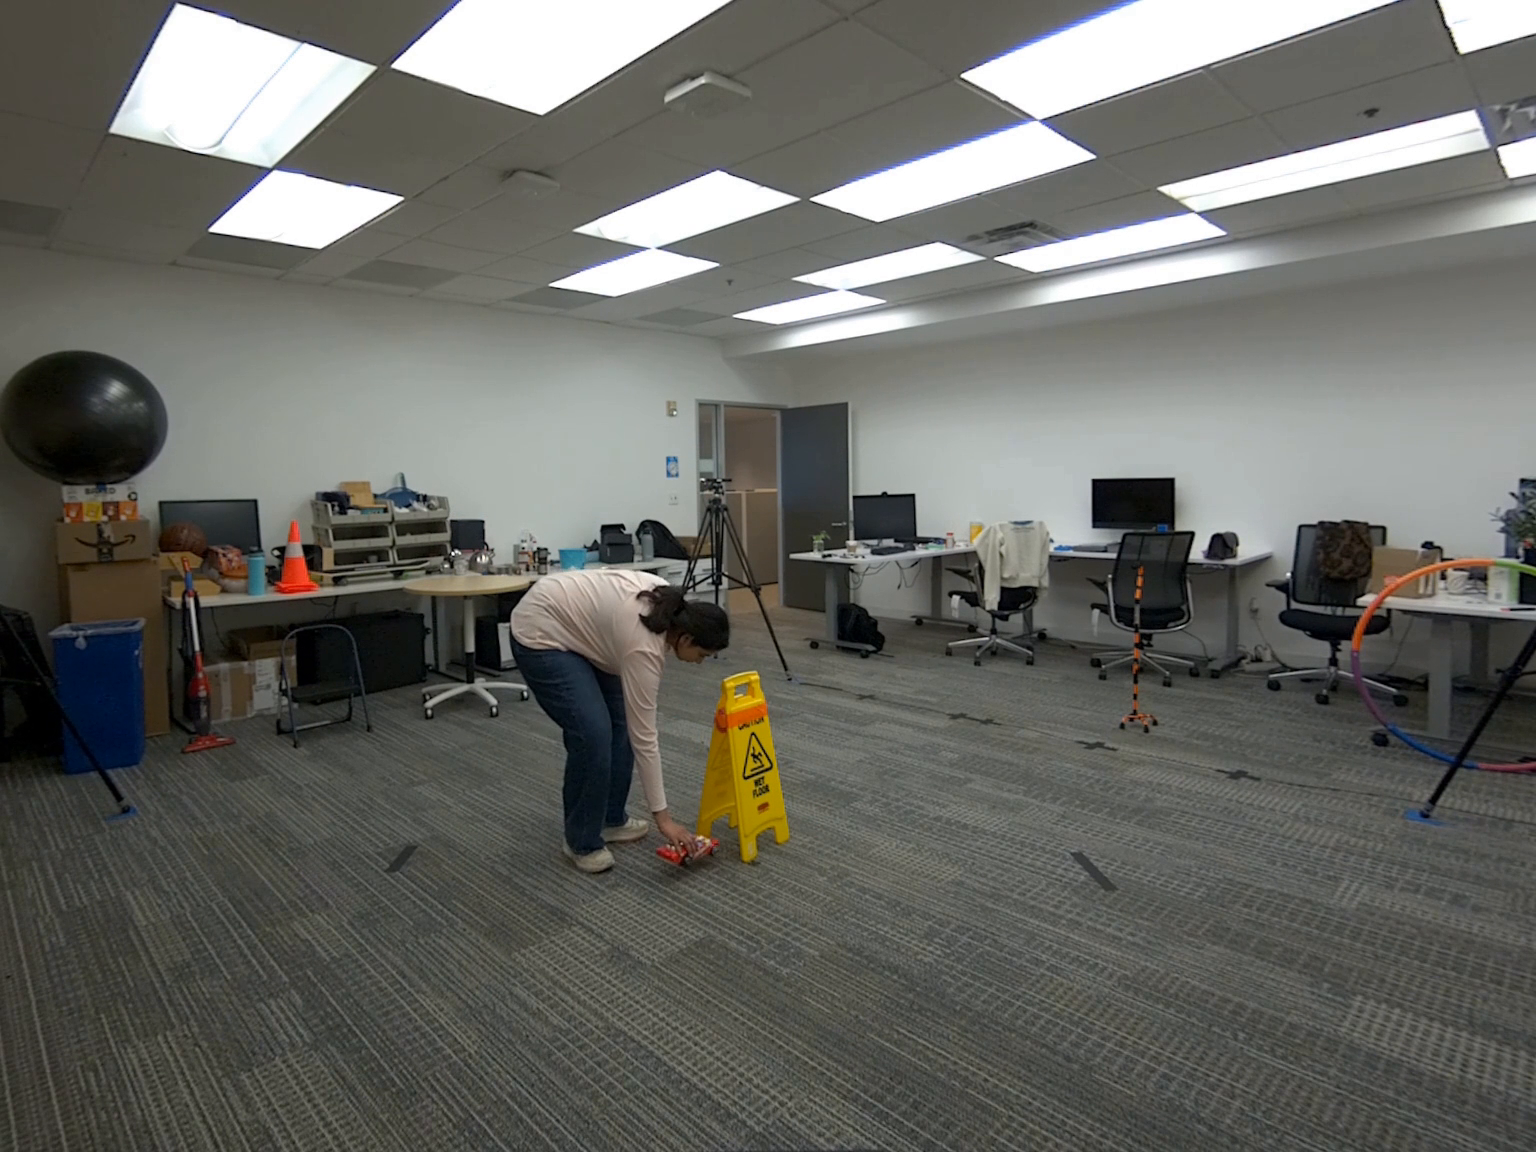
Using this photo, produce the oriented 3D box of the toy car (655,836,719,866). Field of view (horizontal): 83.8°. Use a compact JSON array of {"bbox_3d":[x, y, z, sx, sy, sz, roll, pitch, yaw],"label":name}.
[{"bbox_3d":[-0.296,0.980,3.048,0.134,0.083,0.246,3,-8,43],"label":"toy car"}]
